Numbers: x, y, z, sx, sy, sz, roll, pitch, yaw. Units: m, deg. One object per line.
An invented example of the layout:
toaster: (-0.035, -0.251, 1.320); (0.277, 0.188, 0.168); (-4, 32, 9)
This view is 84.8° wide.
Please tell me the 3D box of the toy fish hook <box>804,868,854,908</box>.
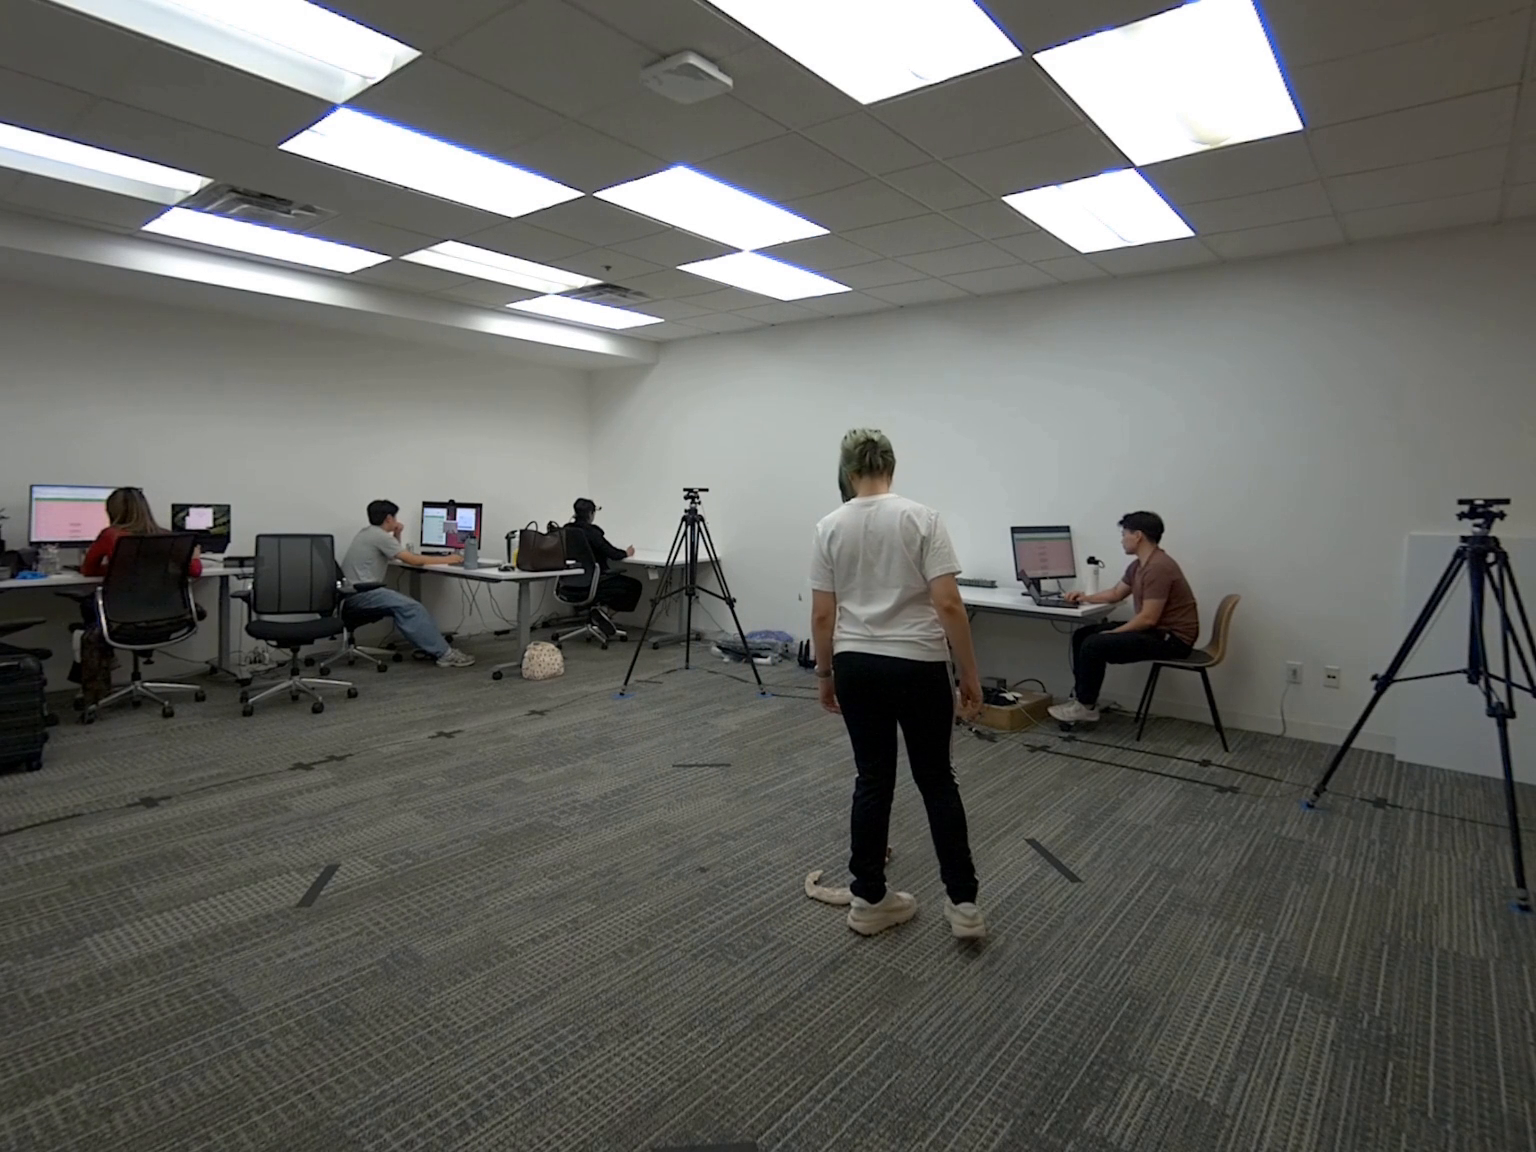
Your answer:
toy fish hook: (0.291, 1.060, 3.079); (0.231, 0.048, 0.494); (6, 7, 29)
